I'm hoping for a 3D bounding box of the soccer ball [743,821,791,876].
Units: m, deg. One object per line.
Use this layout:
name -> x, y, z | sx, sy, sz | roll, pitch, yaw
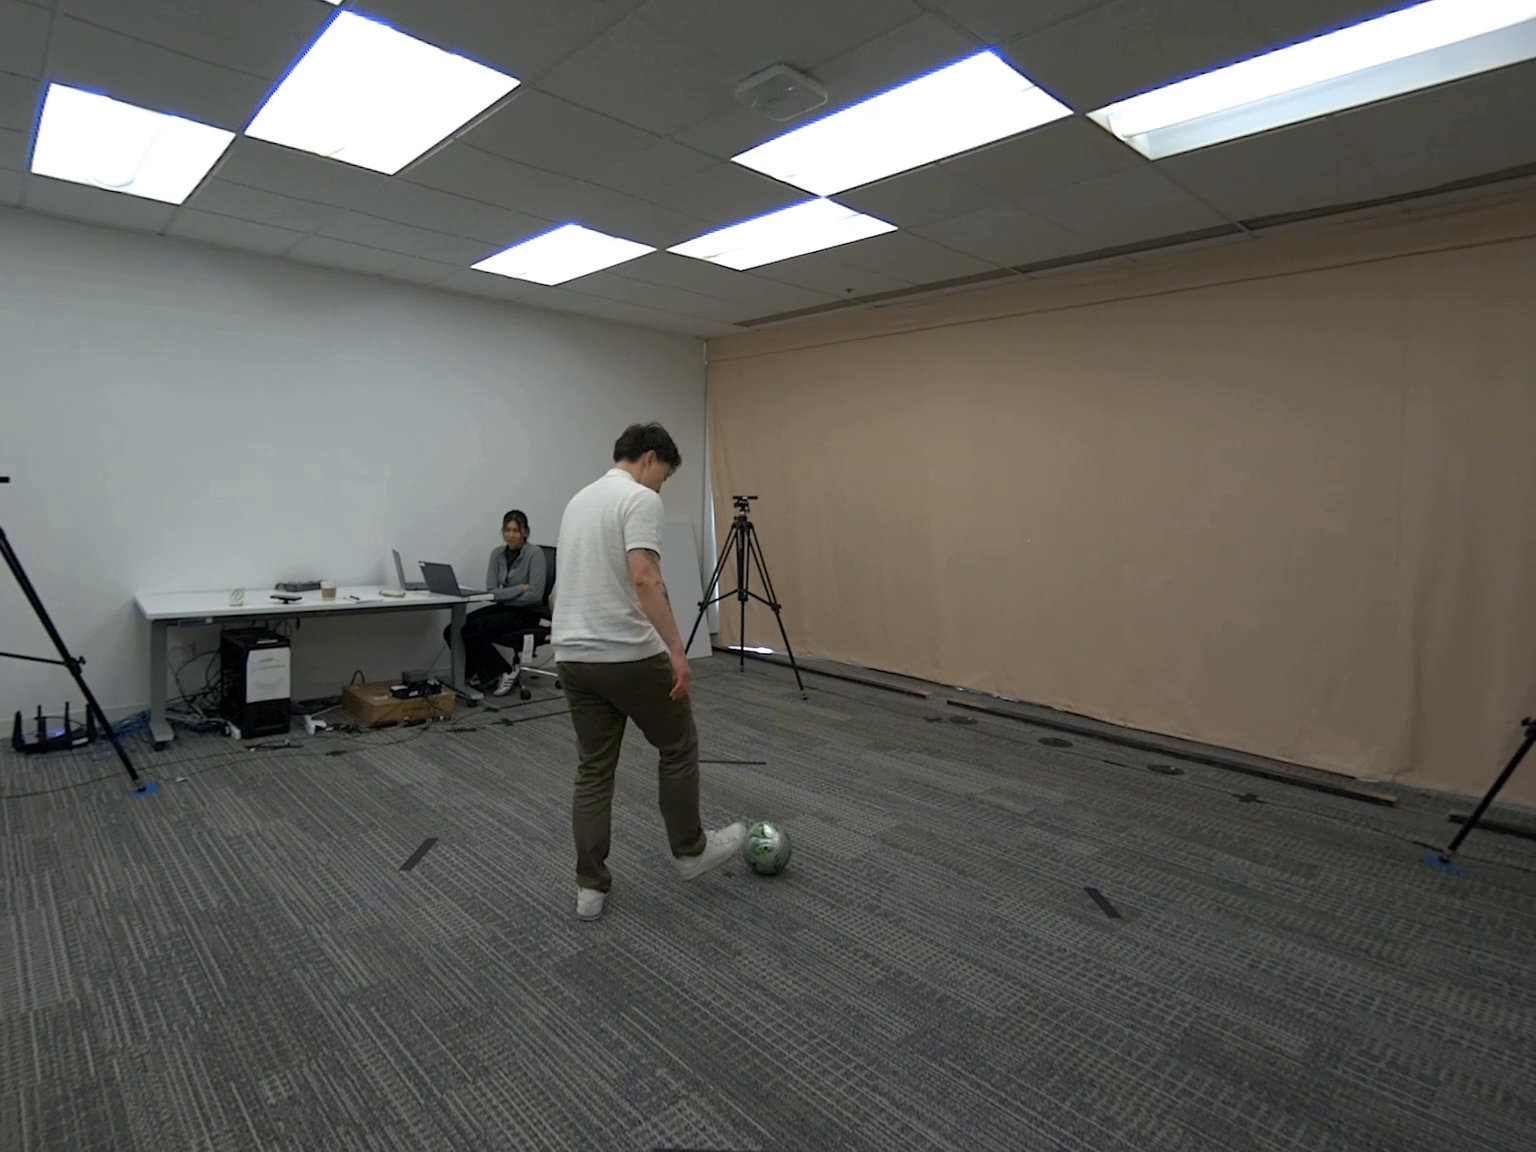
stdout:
soccer ball -> -0.014, 1.009, 3.128 | 0.187, 0.187, 0.188 | 1, 4, -1
